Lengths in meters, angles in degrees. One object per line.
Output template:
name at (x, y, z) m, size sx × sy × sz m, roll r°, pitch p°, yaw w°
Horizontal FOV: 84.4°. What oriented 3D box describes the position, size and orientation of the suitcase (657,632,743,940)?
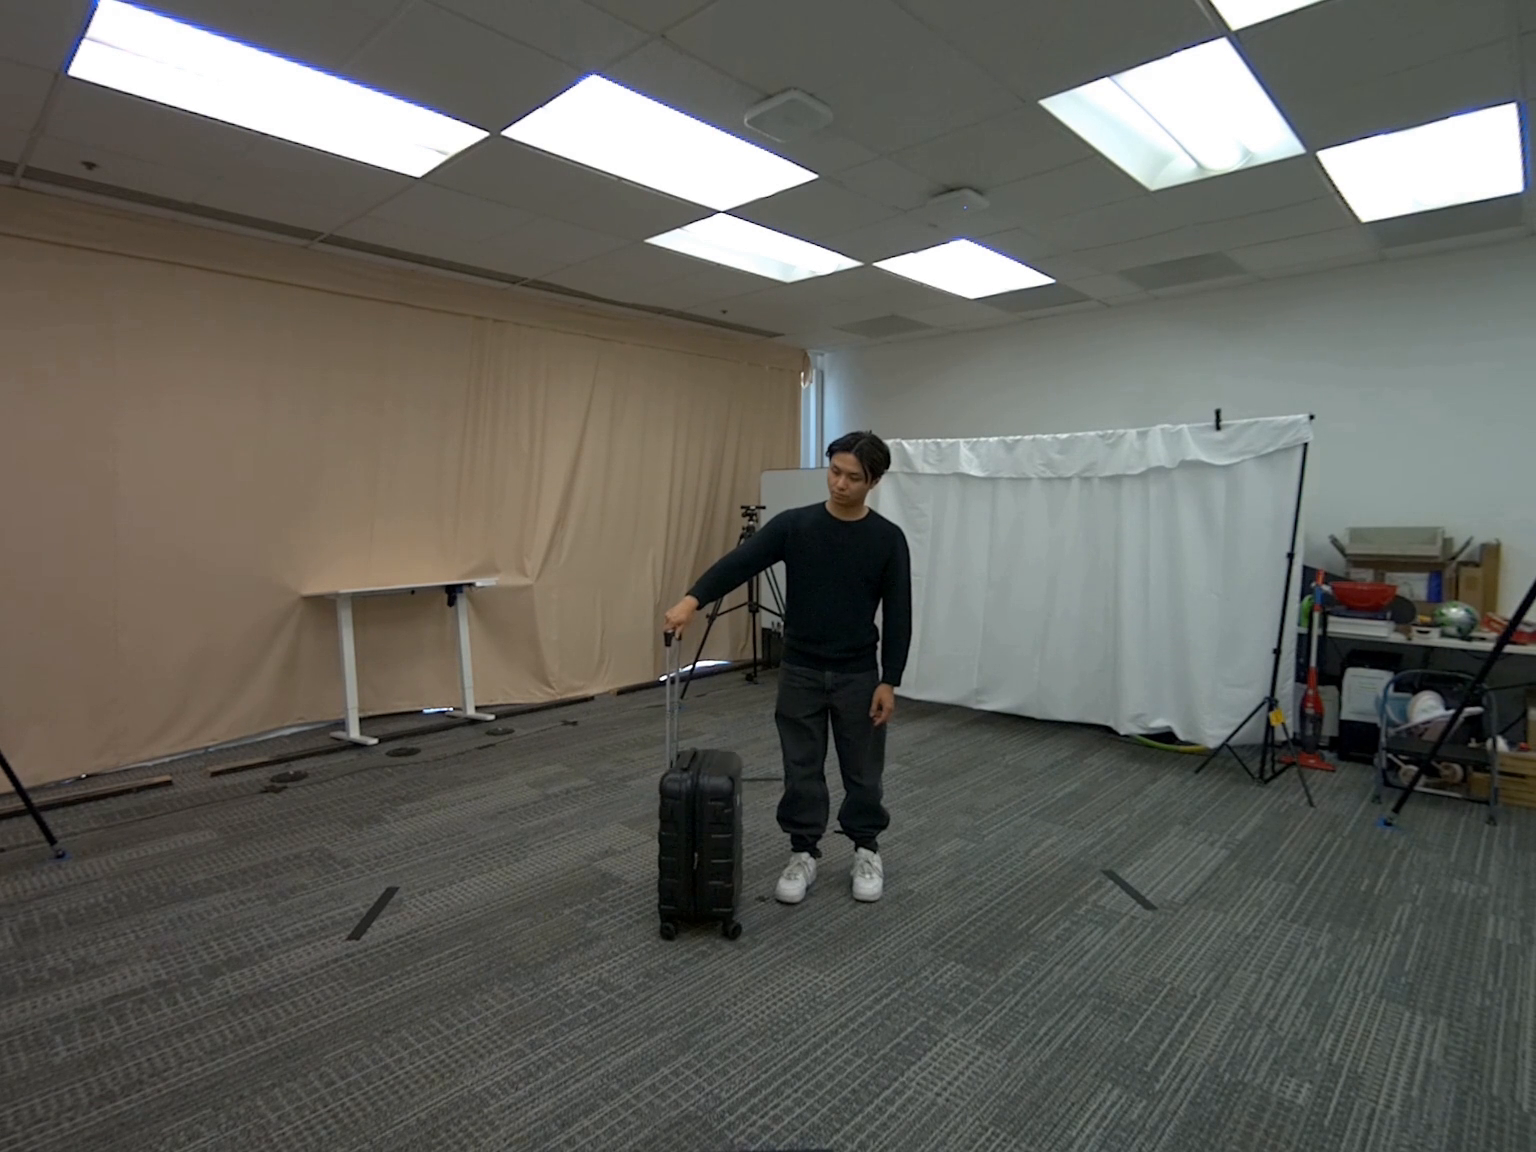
suitcase at (-0.219, 0.683, 2.835) m, size 0.258 × 0.977 × 0.383 m, roll 1°, pitch 2°, yaw 3°
